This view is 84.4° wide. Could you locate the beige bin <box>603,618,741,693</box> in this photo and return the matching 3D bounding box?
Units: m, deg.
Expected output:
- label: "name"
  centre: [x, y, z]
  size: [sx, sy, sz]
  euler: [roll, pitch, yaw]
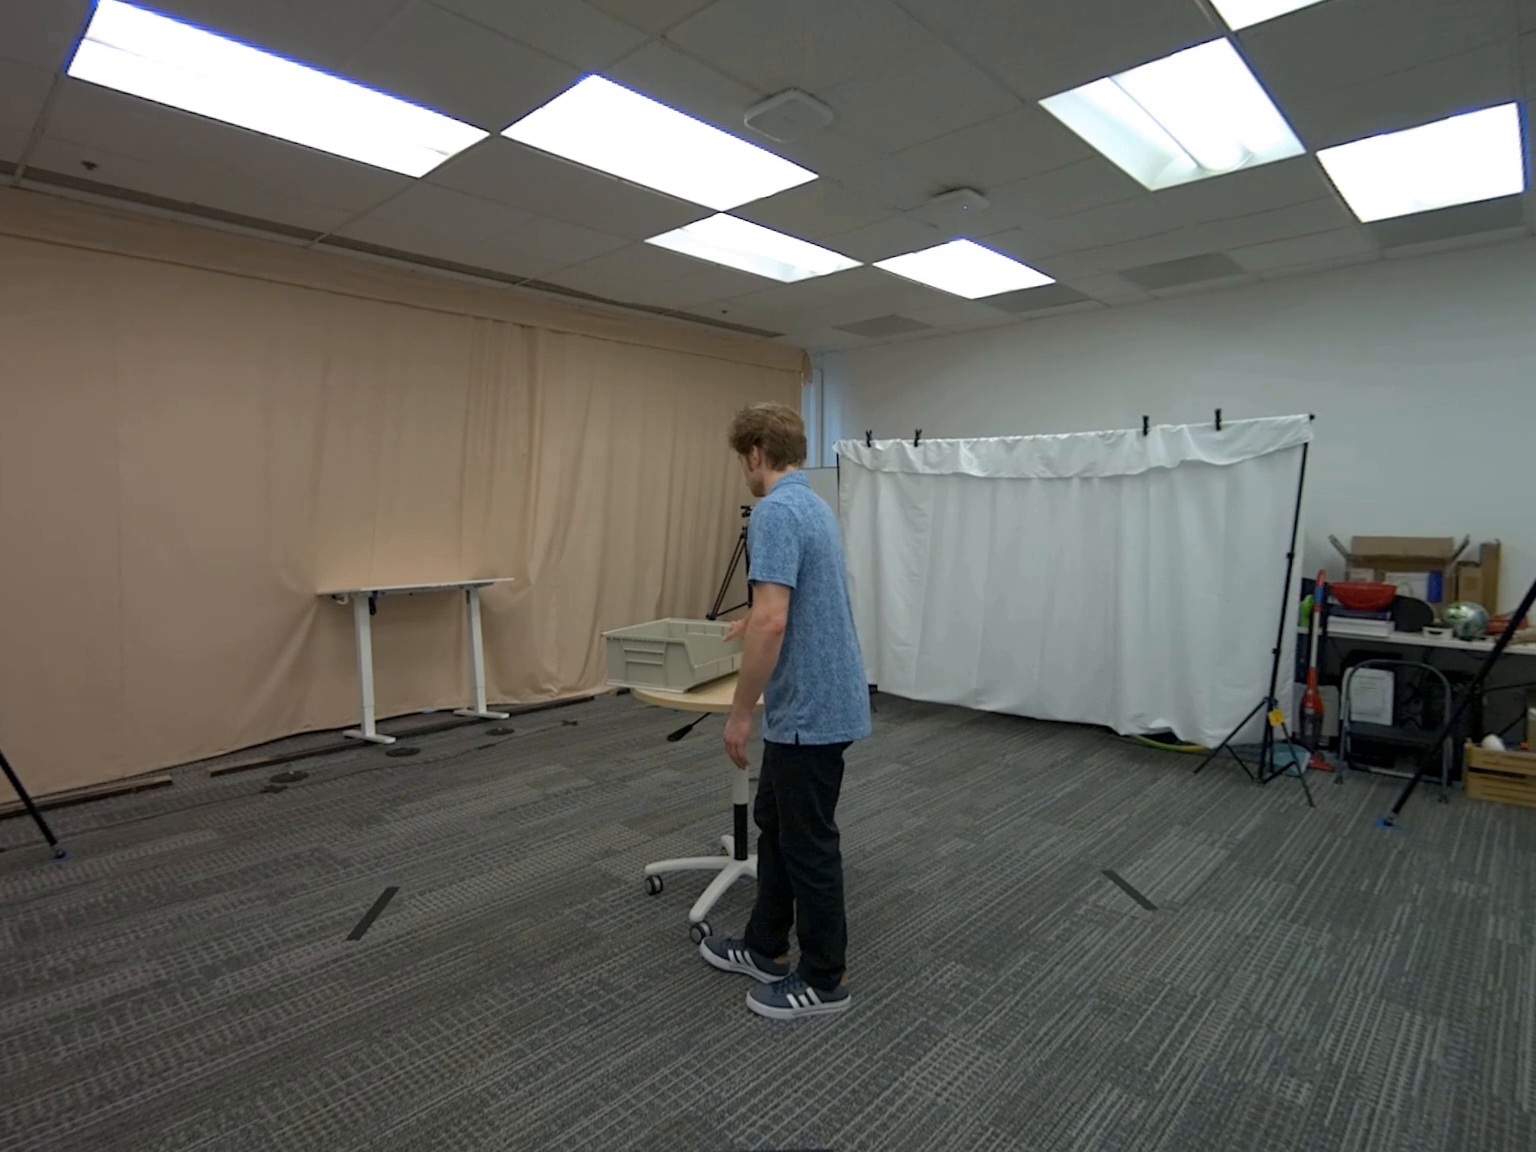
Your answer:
- label: "beige bin"
  centre: [-0.301, 0.274, 2.971]
  size: [0.388, 0.188, 0.412]
  euler: [1, 5, 28]
